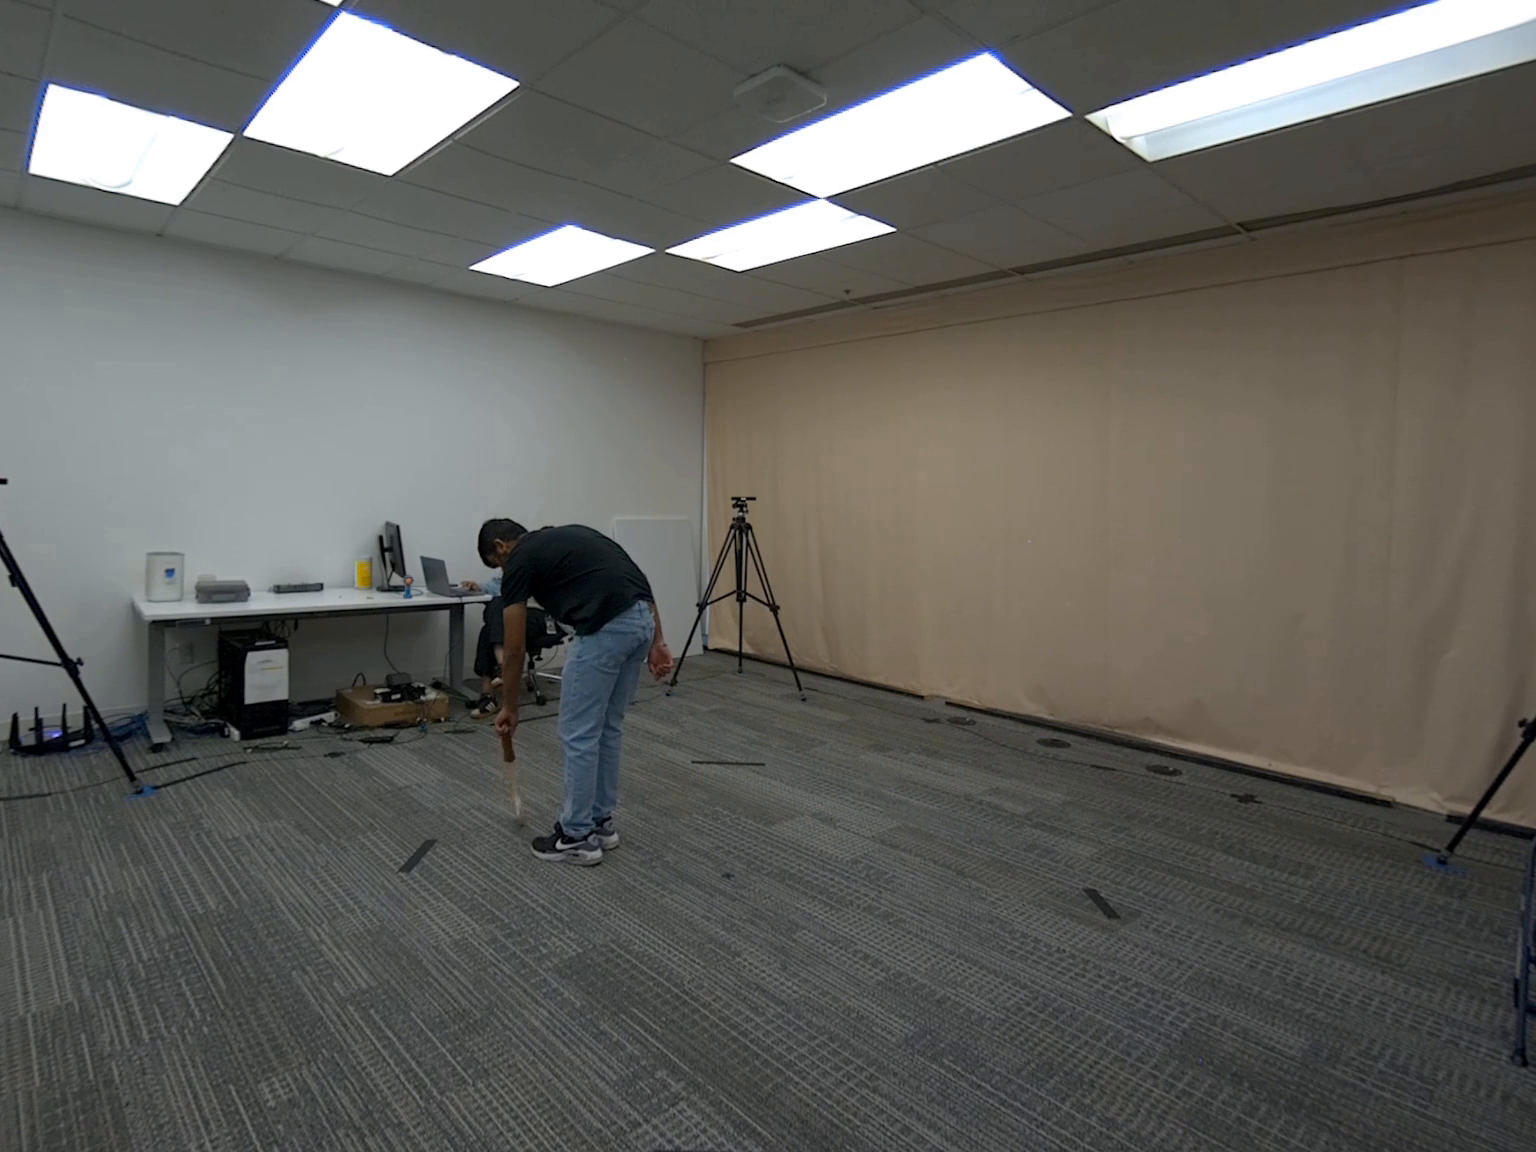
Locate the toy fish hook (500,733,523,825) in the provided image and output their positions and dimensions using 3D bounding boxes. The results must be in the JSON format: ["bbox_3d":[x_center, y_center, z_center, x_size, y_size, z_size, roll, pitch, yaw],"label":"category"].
[{"bbox_3d":[-1.052,0.820,3.447,0.048,0.496,0.232,-14,38,-21],"label":"toy fish hook"}]
